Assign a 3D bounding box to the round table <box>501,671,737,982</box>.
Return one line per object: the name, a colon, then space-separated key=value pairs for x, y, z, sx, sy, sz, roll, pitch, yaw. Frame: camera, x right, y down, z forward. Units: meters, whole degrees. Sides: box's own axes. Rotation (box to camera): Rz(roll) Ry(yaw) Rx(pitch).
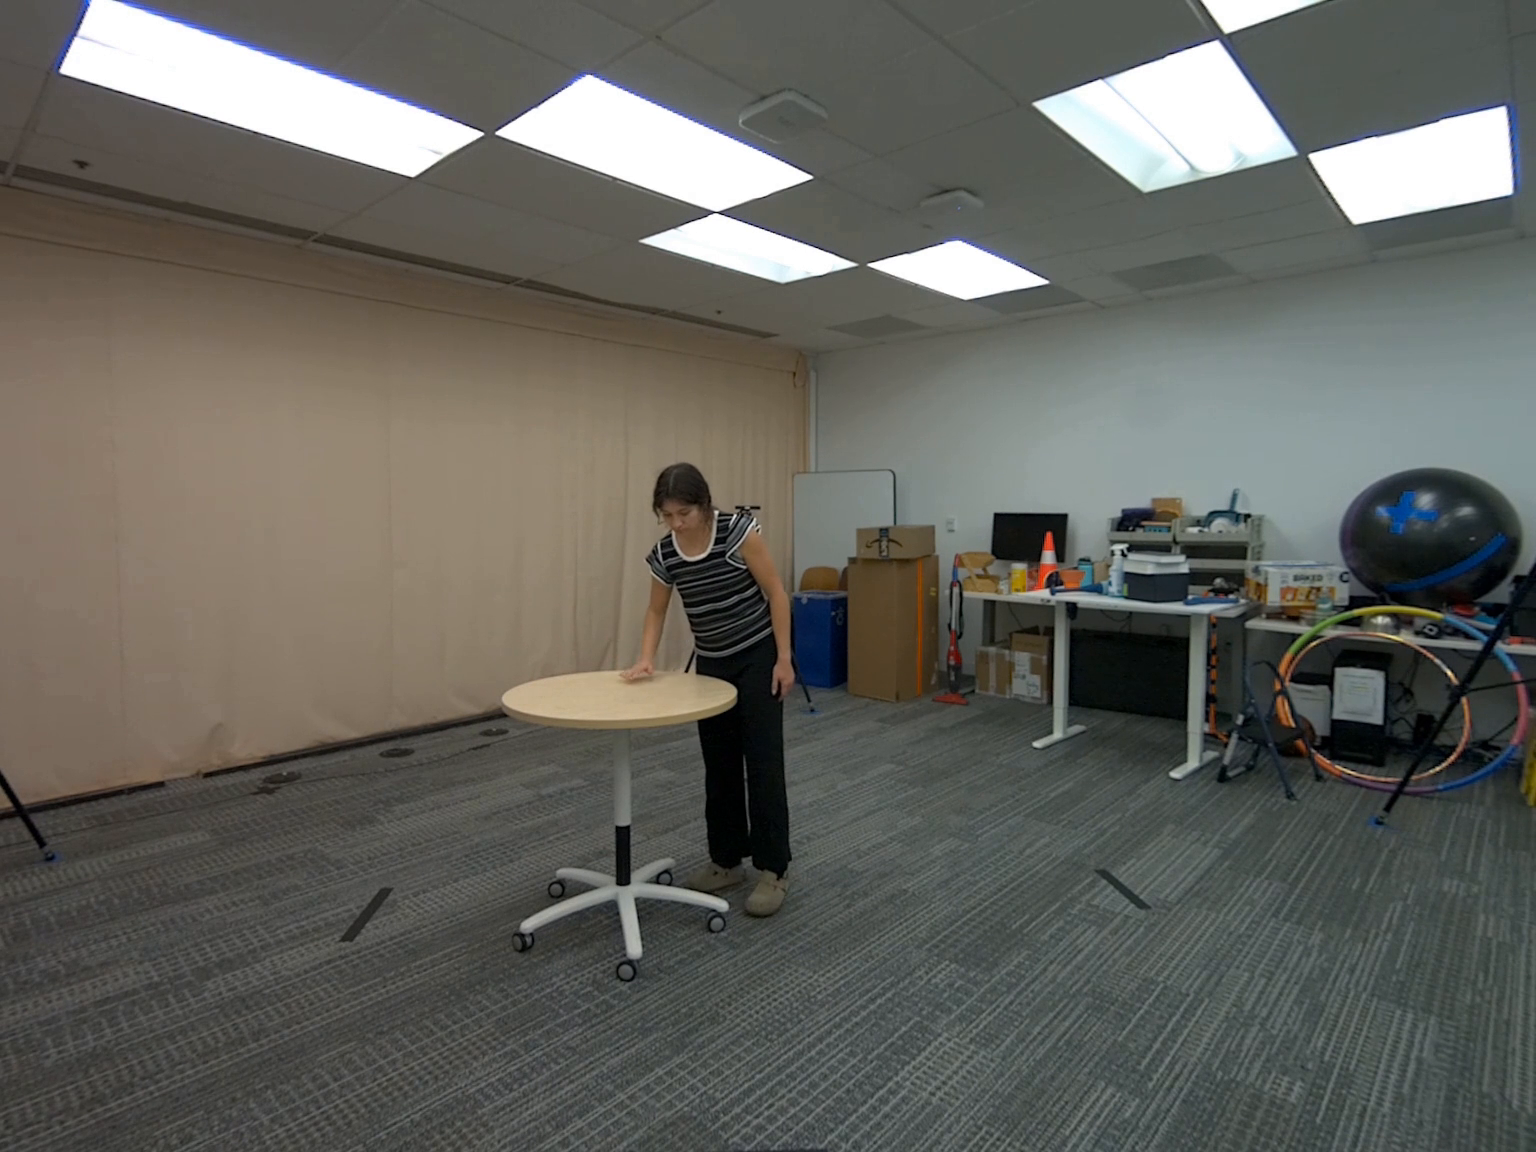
round table: x=-0.485 y=0.778 z=2.783 sx=0.763 sy=0.792 sz=0.766 roll=0 pitch=3 yaw=-2
